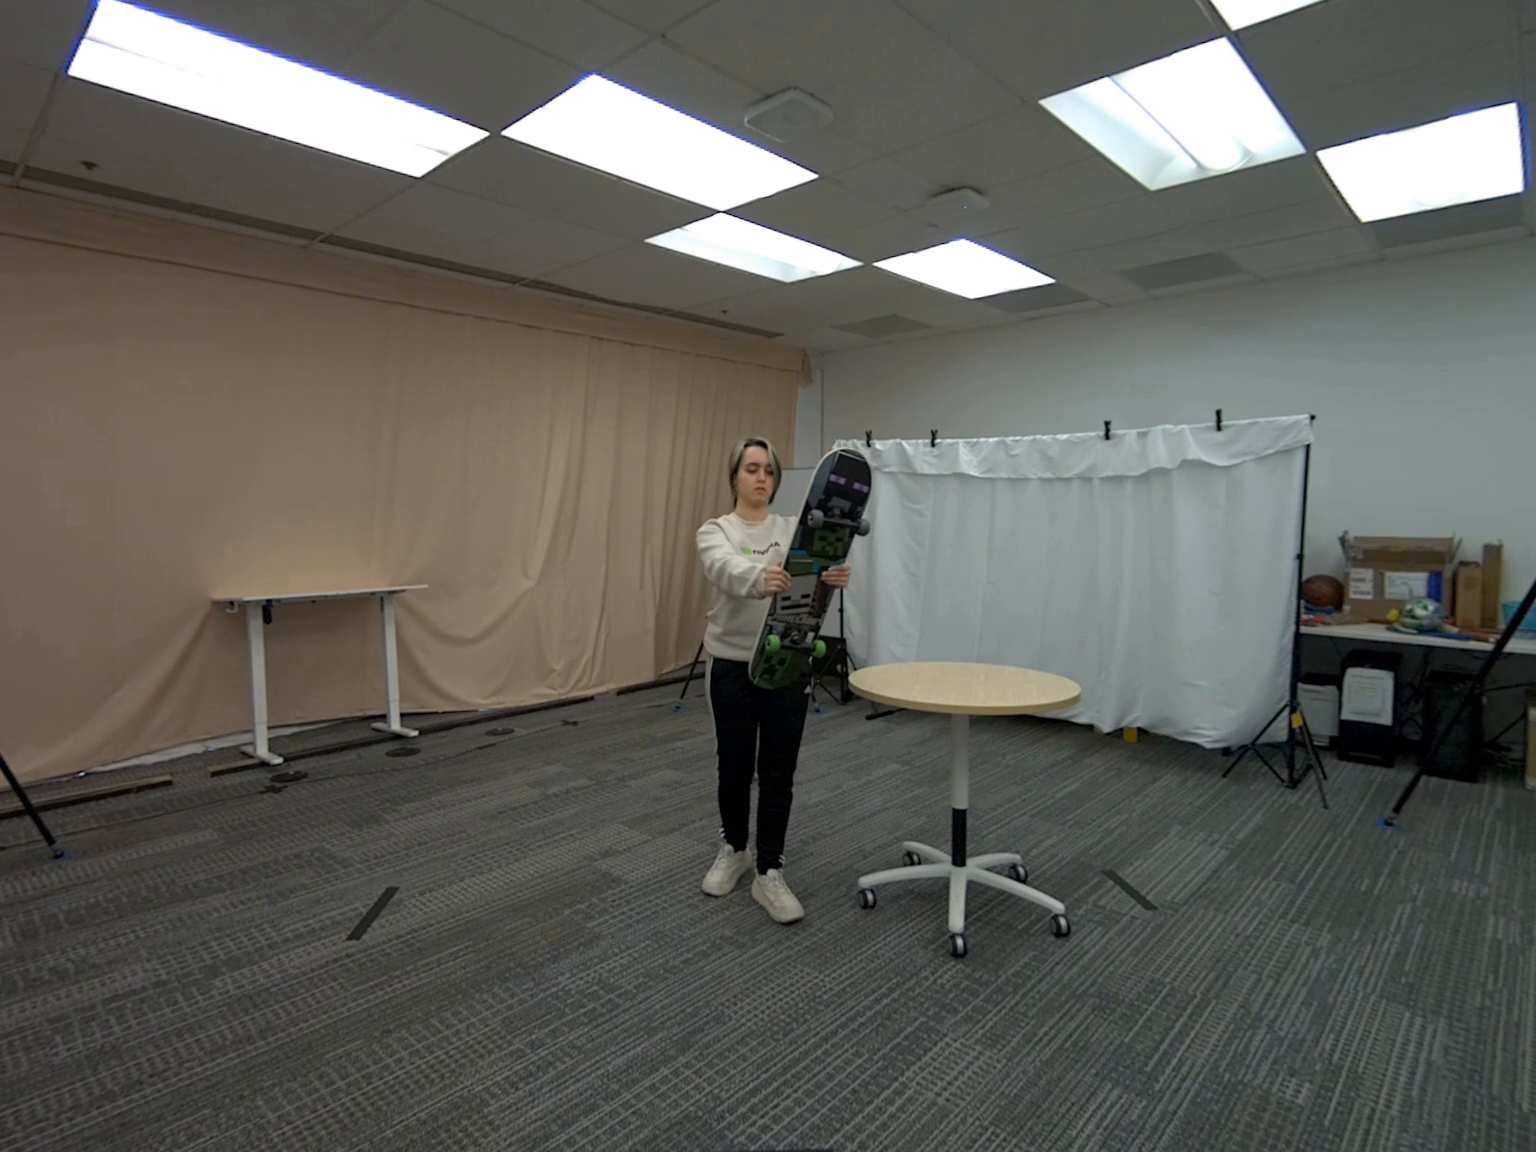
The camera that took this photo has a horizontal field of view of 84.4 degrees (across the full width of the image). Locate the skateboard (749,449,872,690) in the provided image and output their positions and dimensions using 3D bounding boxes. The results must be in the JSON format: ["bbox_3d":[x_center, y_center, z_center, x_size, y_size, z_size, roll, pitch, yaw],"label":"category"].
[{"bbox_3d":[0.133,0.017,2.442,0.189,0.781,0.113,9,21,-23],"label":"skateboard"}]
